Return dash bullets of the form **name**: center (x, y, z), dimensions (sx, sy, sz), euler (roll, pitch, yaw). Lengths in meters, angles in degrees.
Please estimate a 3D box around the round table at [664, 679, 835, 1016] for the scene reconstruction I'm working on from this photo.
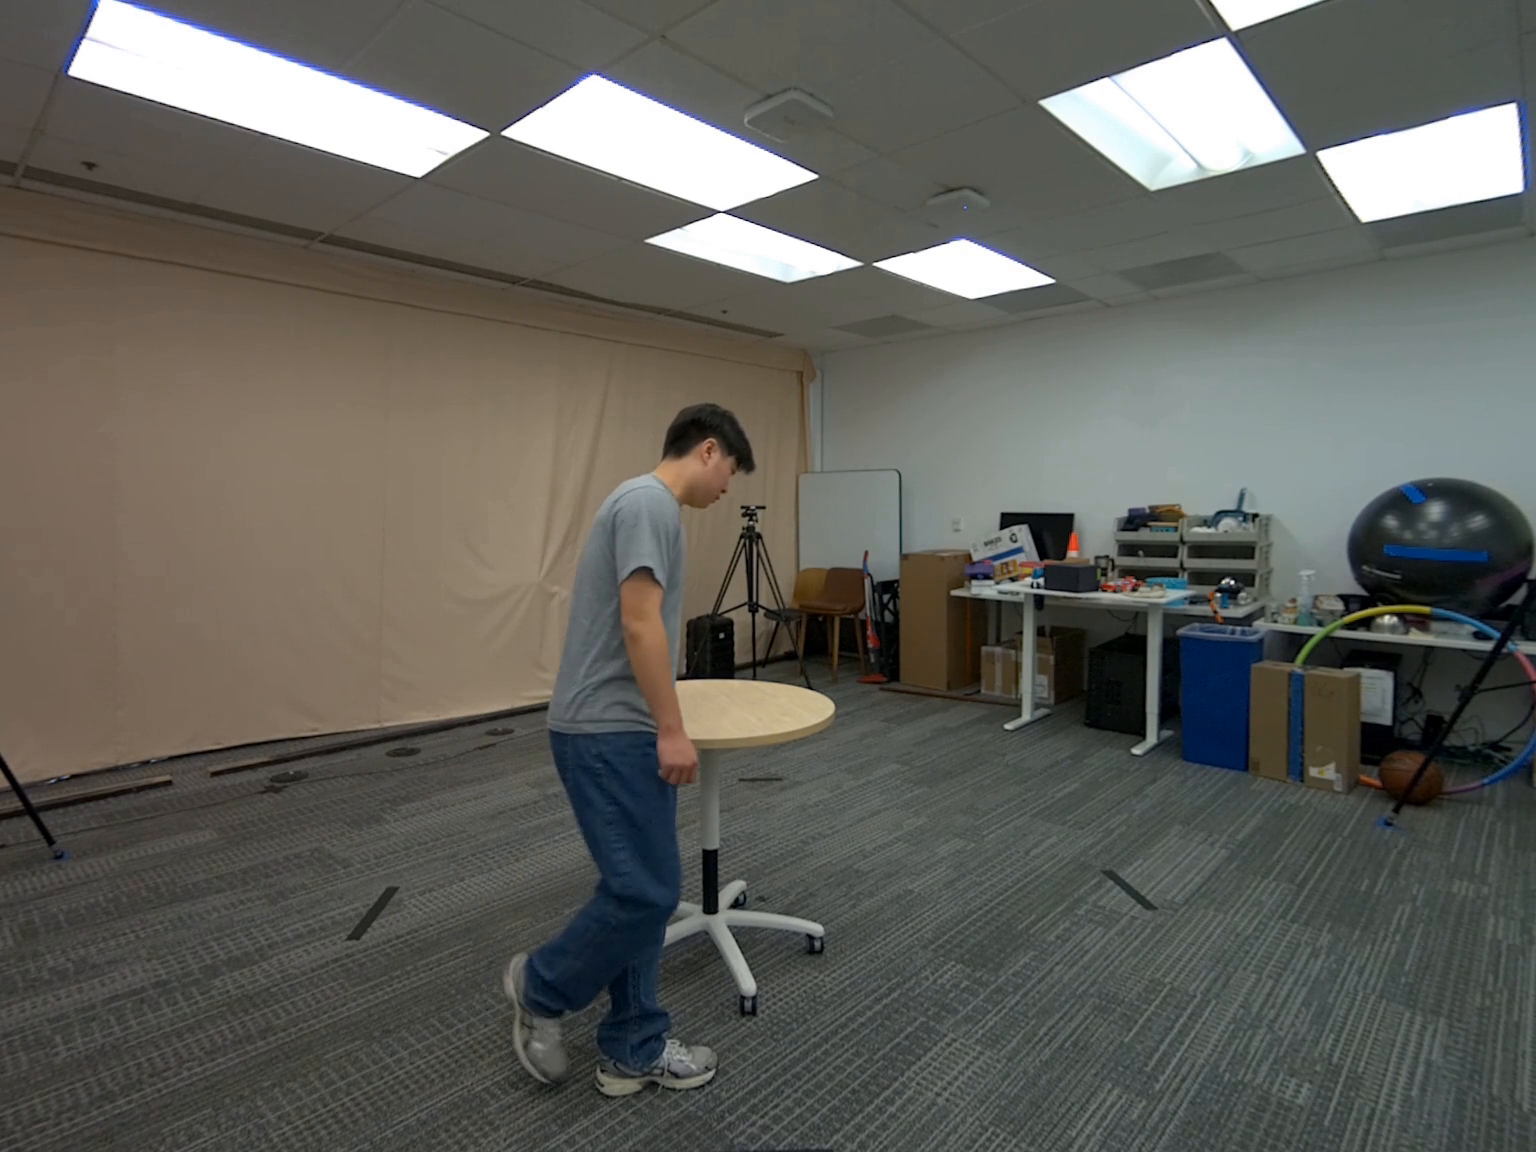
- **round table**: center (-0.173, 0.787, 2.588), dimensions (0.763, 0.792, 0.767), euler (-1, 4, -2)
